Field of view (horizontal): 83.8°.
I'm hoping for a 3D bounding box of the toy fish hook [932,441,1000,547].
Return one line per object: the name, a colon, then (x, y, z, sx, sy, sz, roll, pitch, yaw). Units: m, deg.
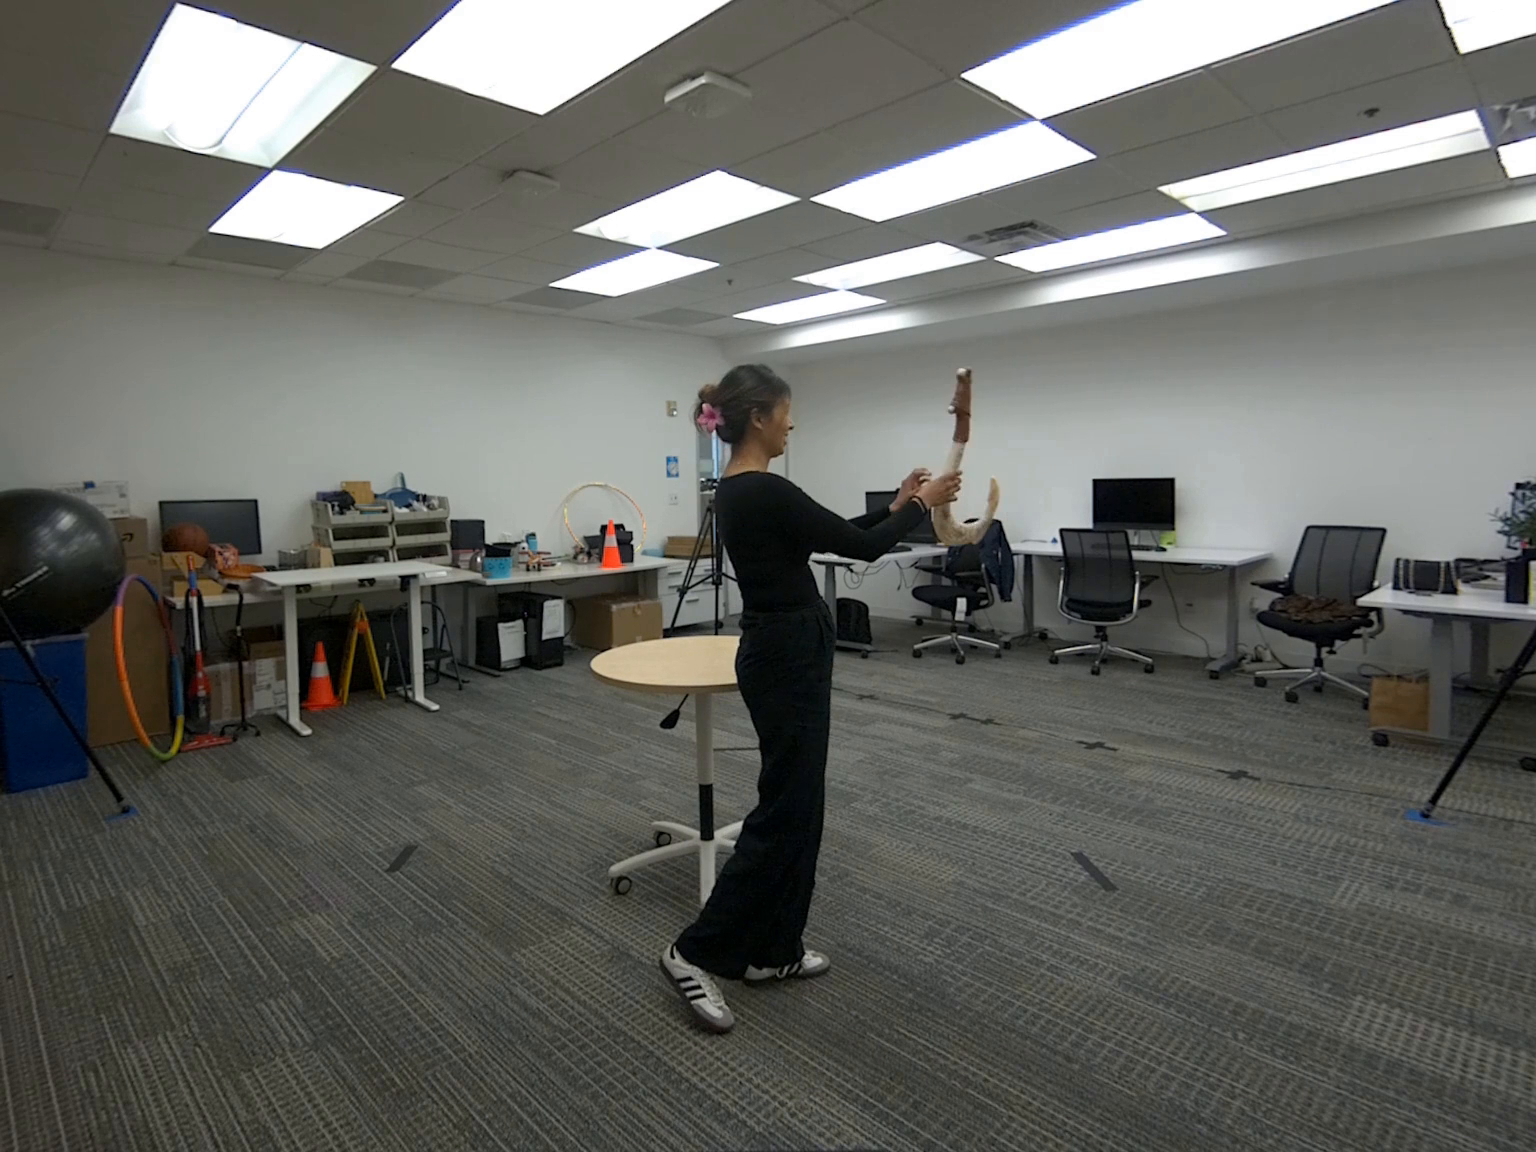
toy fish hook: (0.560, -0.324, 2.396, 0.220, 0.499, 0.050, -6, 19, -27)
